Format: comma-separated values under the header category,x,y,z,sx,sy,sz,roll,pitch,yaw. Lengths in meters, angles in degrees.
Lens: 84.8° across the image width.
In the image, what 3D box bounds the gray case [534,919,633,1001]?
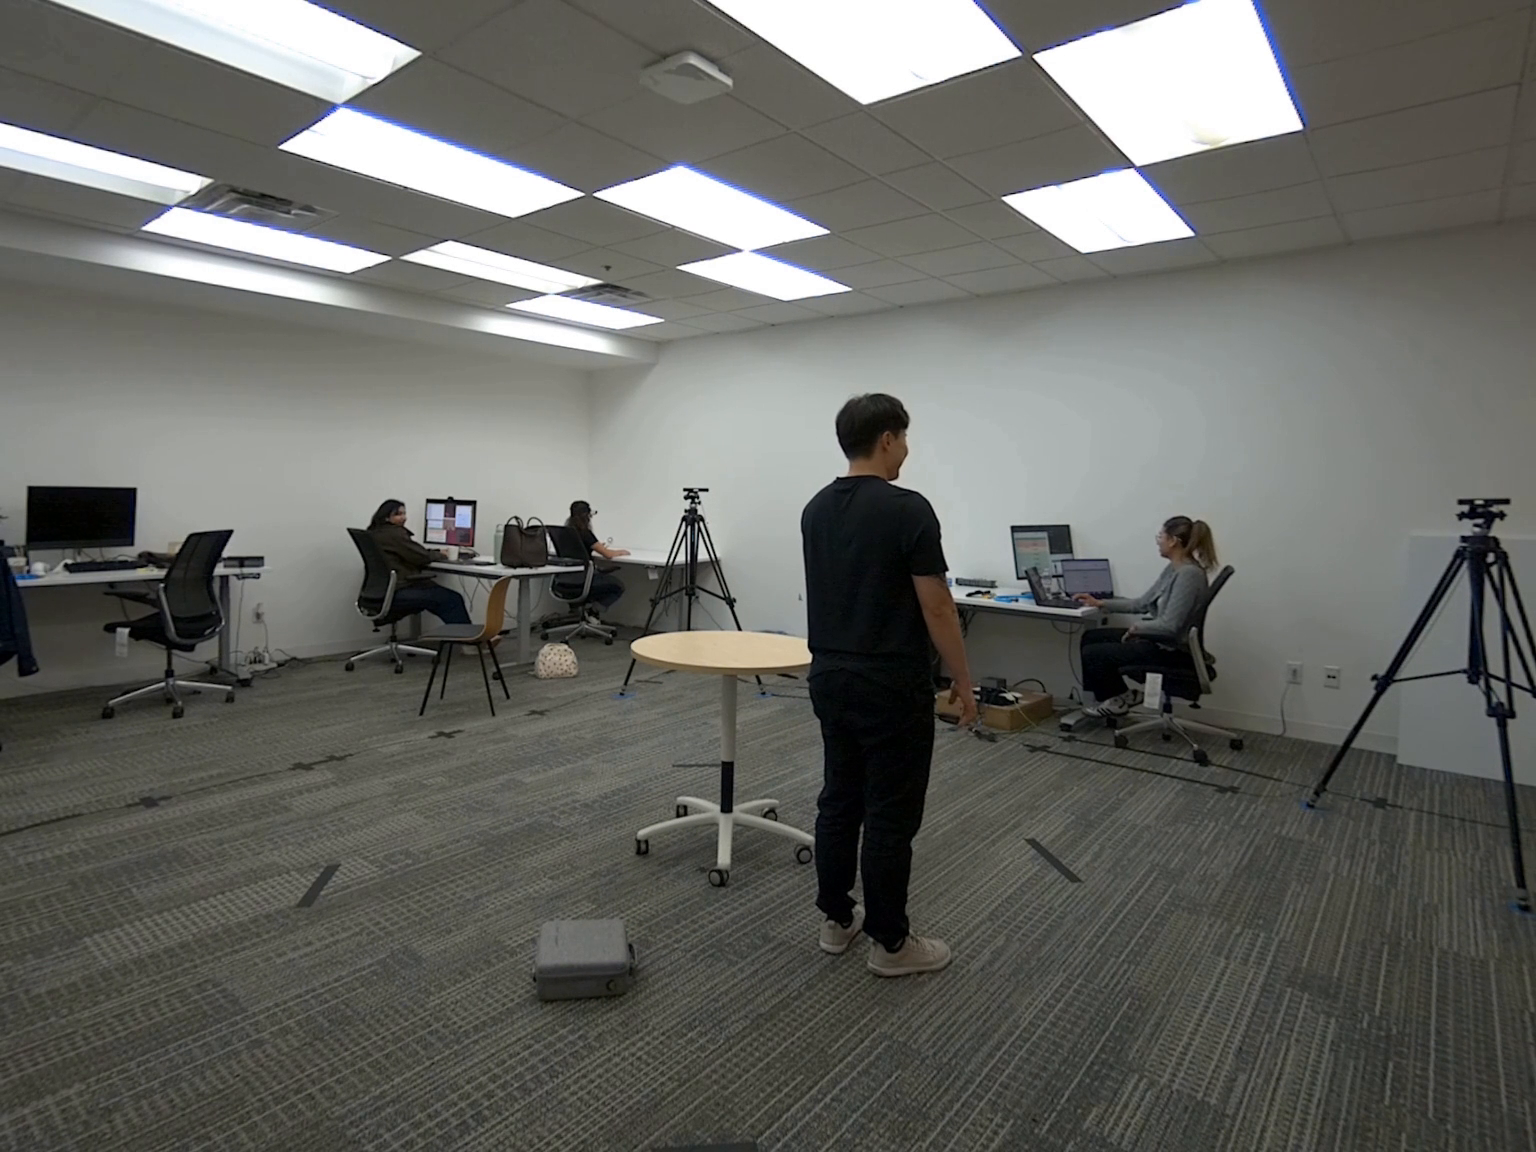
category,x,y,z,sx,sy,sz,roll,pitch,yaw
gray case,-0.539,1.077,2.414,0.258,0.104,0.261,-1,5,-11
